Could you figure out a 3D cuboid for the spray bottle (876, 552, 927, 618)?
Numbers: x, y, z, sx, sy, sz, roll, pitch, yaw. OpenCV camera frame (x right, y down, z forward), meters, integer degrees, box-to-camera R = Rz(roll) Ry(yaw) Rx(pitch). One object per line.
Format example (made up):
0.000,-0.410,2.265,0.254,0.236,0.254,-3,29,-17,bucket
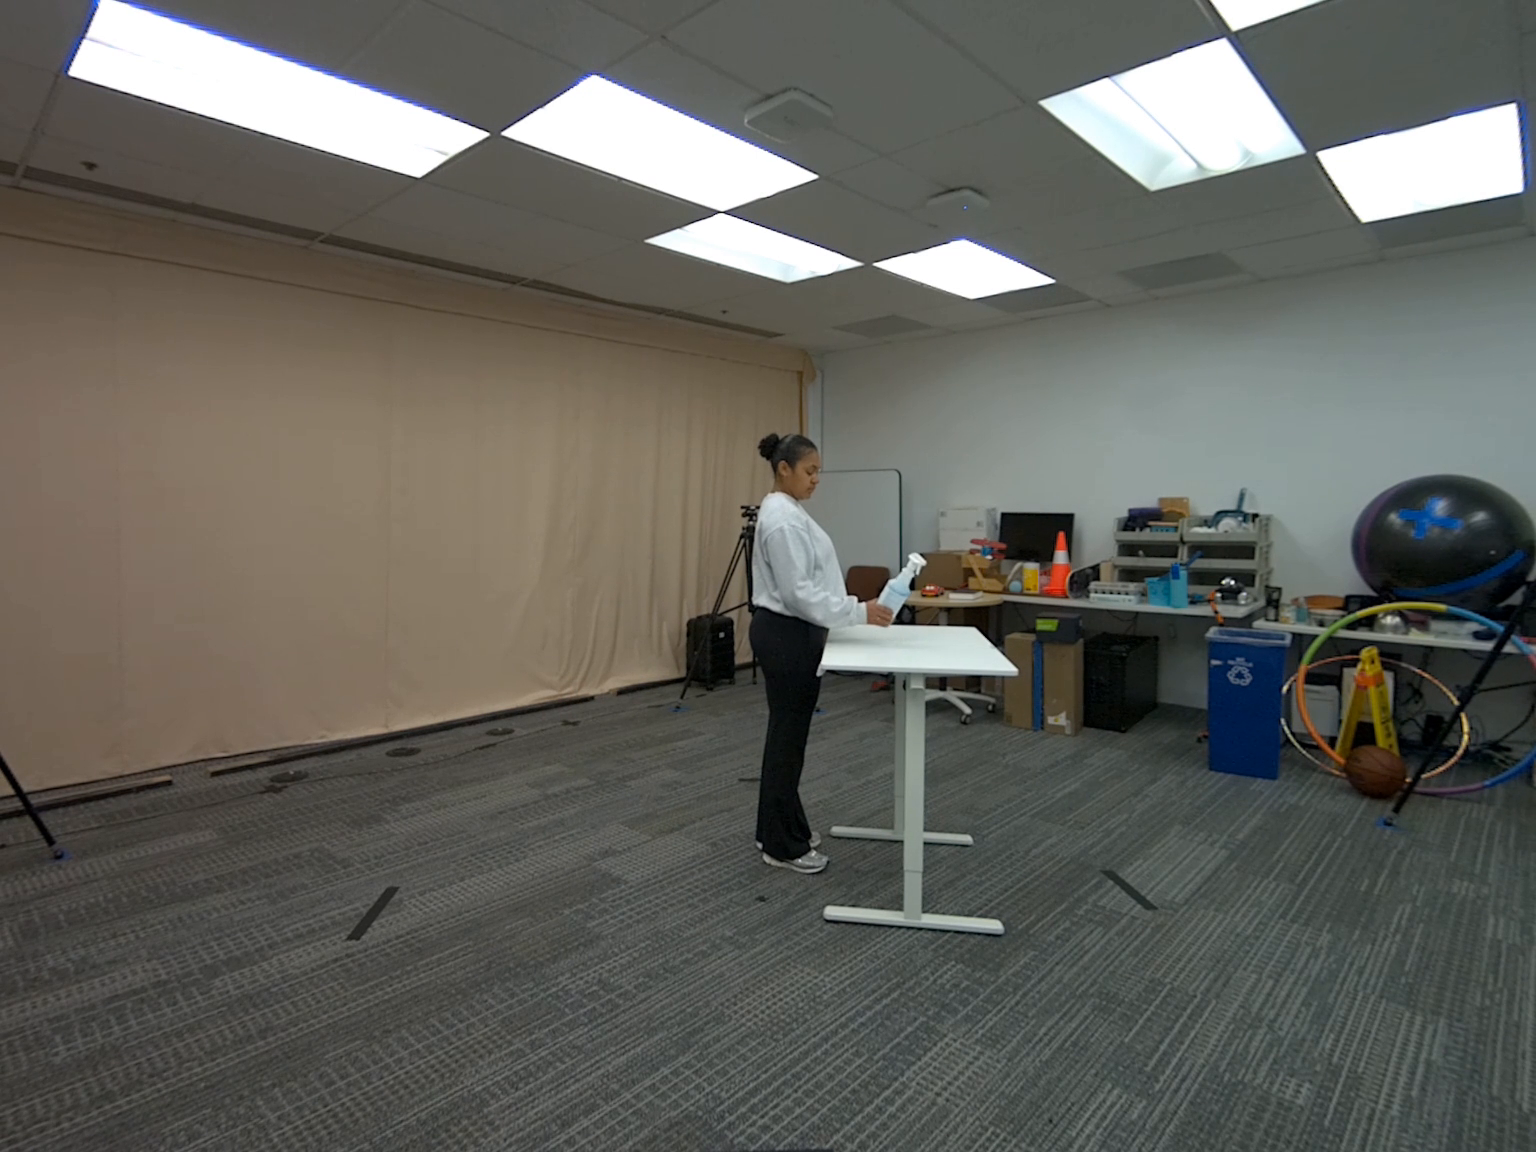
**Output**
0.473,0.041,3.033,0.086,0.297,0.091,25,23,-6,spray bottle
